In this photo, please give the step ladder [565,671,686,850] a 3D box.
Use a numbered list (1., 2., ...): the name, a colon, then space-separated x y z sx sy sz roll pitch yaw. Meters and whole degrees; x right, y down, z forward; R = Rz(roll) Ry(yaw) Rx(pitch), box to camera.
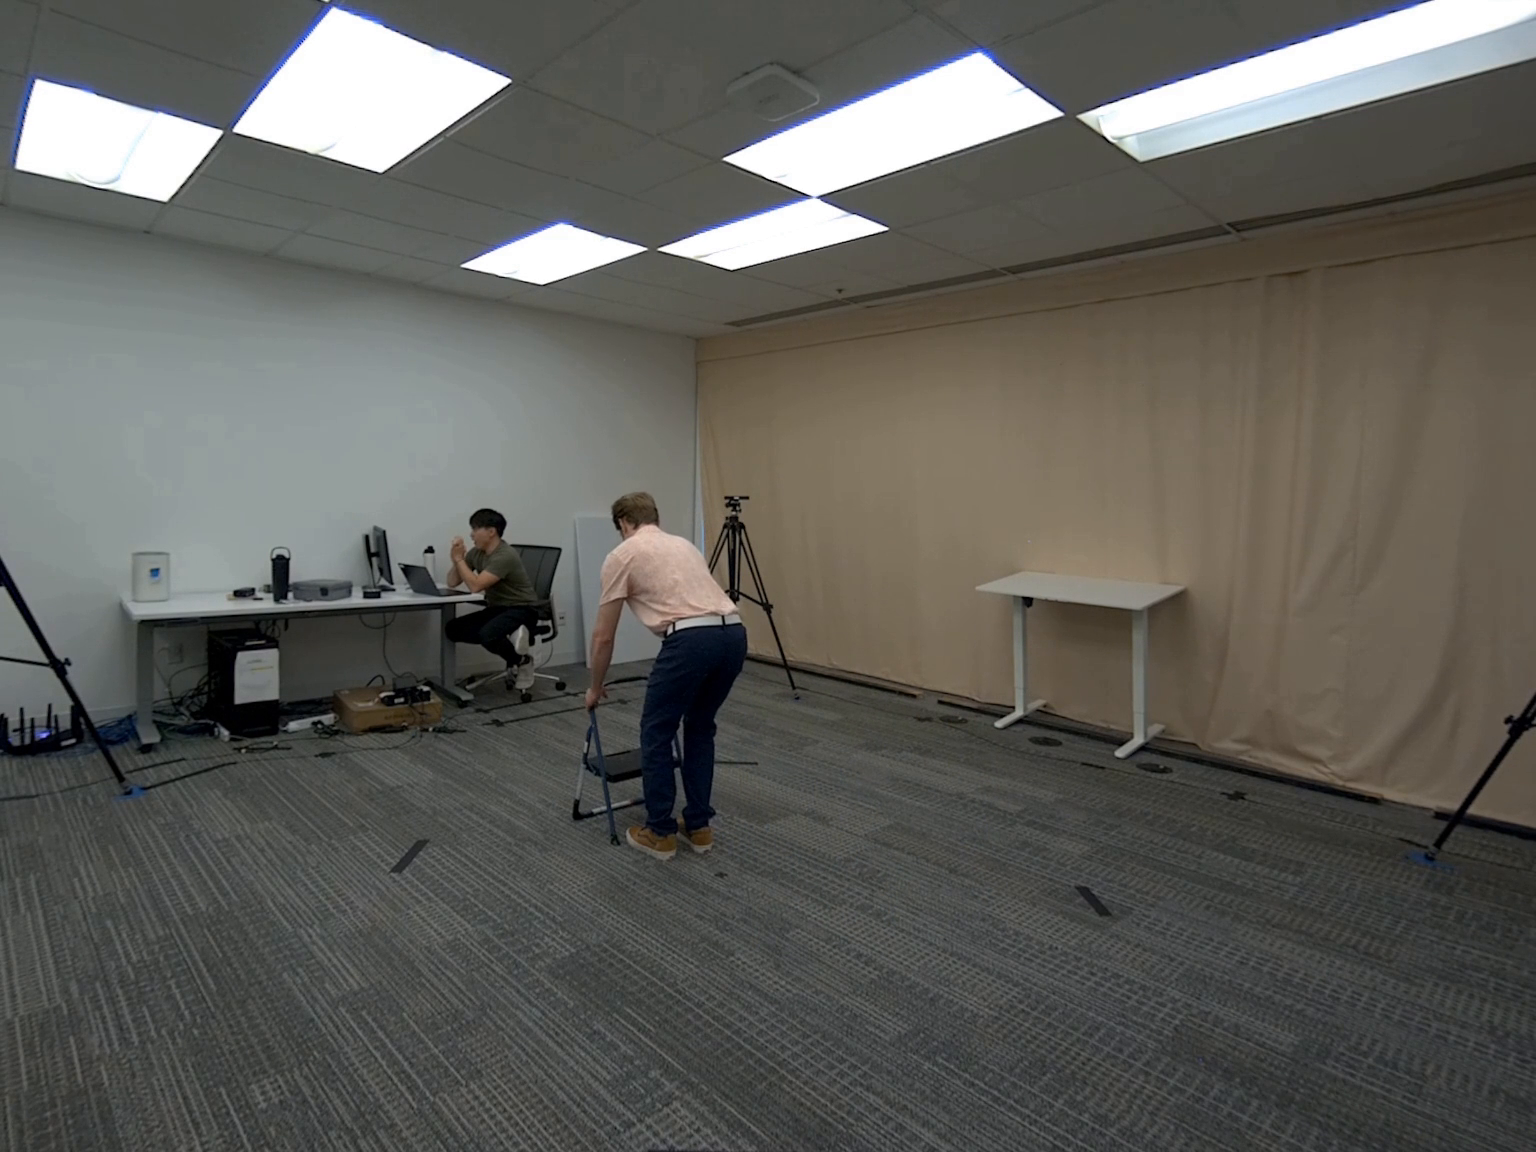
1. step ladder: -0.575 0.754 3.599 0.420 0.605 0.358 0 3 -43
